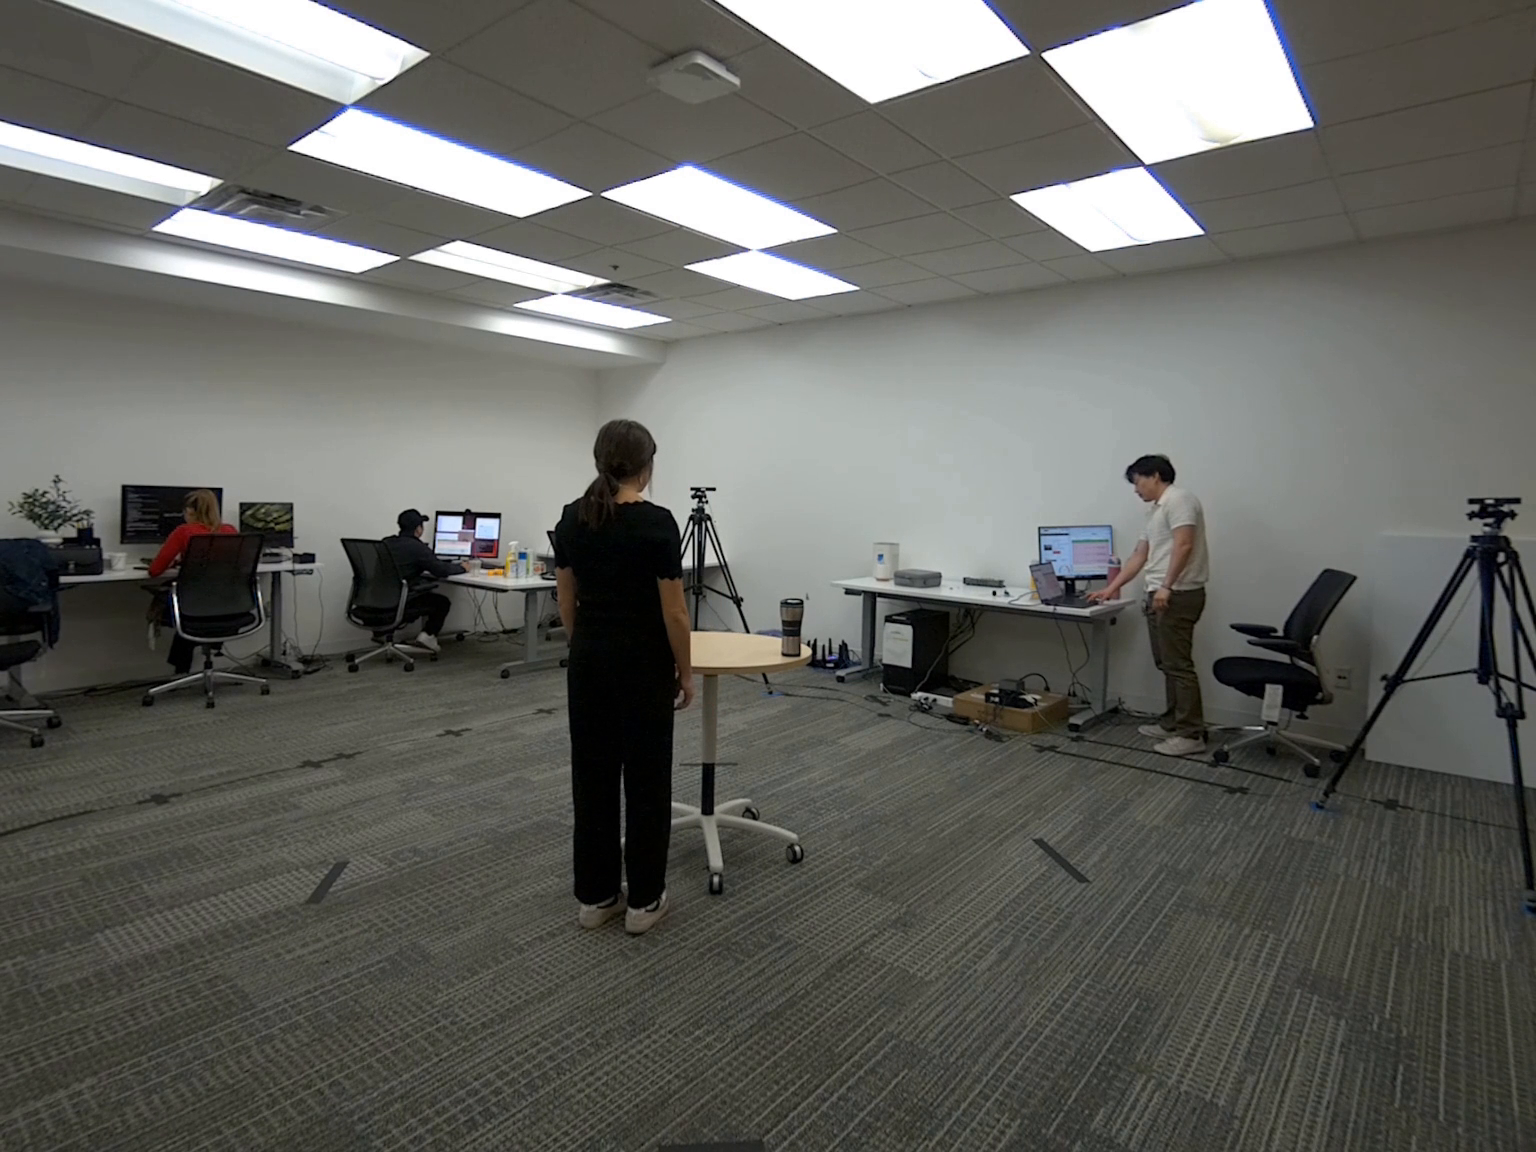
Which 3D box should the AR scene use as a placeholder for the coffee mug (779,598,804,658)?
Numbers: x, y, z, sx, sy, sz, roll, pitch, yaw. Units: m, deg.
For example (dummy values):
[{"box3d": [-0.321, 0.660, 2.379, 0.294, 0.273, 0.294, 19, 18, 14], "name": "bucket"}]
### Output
[{"box3d": [0.082, 0.185, 3.122, 0.090, 0.202, 0.119, 0, 6, 26], "name": "coffee mug"}]
